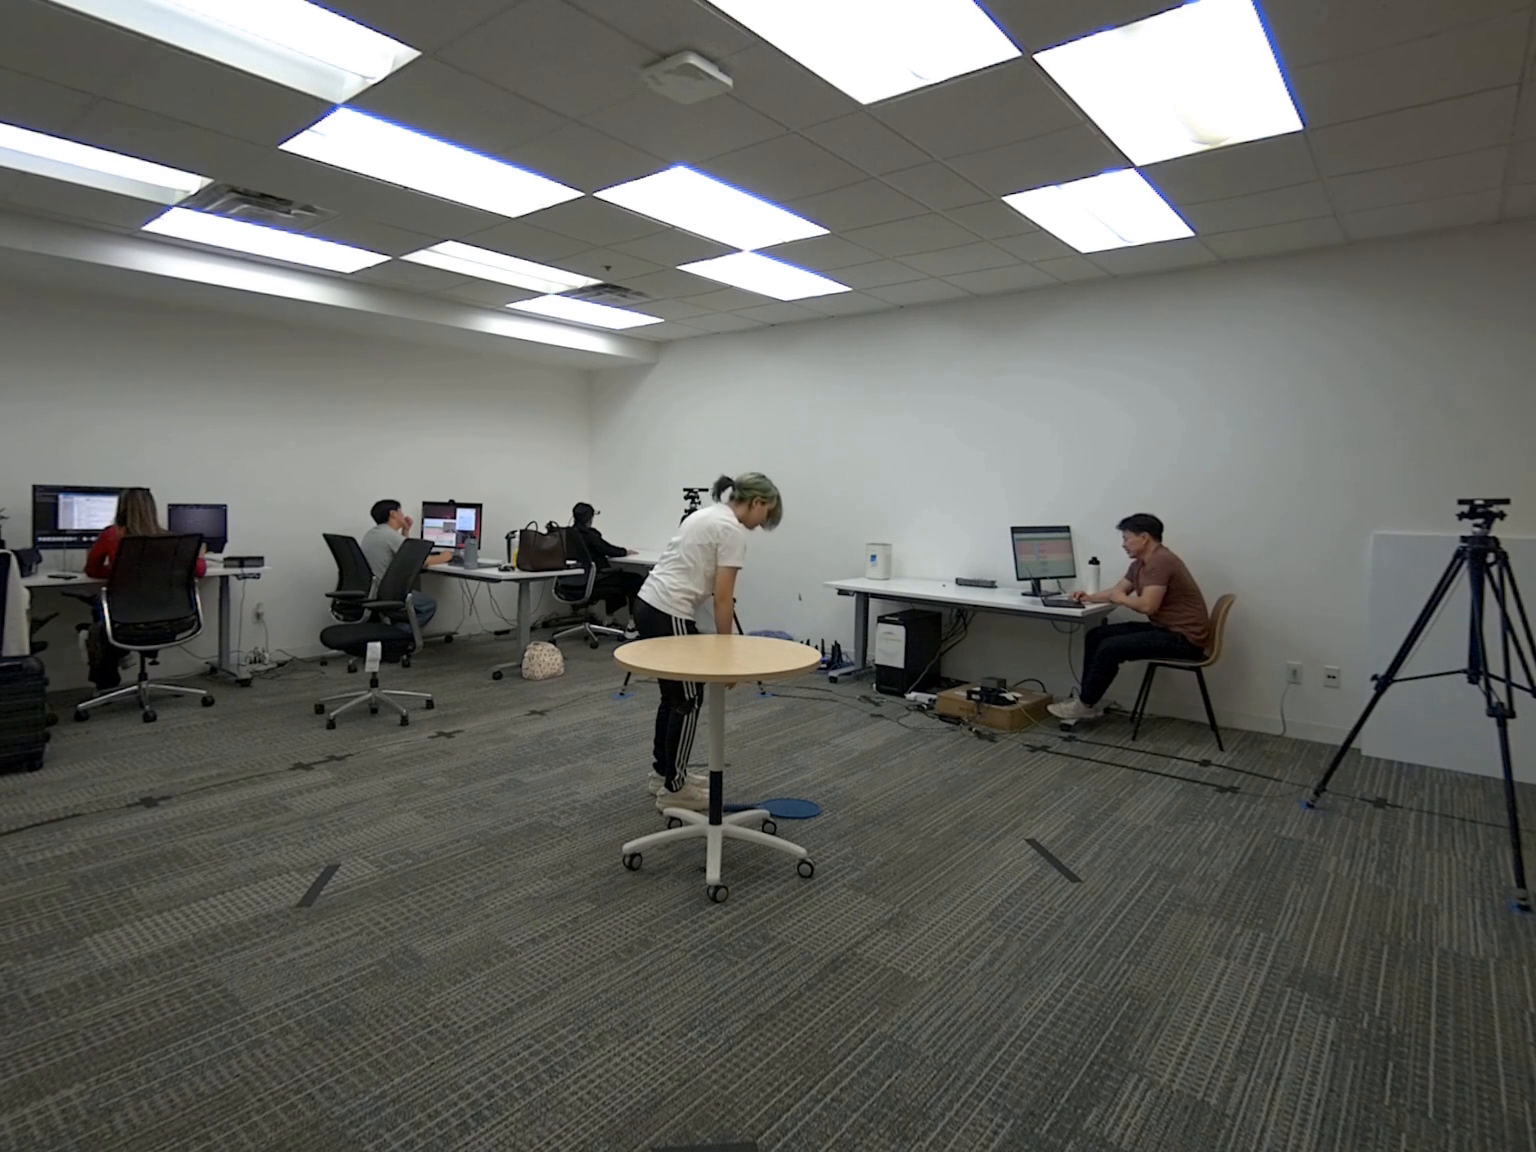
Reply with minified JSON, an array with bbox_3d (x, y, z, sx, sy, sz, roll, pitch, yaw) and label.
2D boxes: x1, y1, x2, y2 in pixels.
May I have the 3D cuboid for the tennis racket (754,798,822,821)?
[{"bbox_3d":[0.011,1.003,3.698,0.431,0.031,0.216,2,6,-5],"label":"tennis racket"}]
